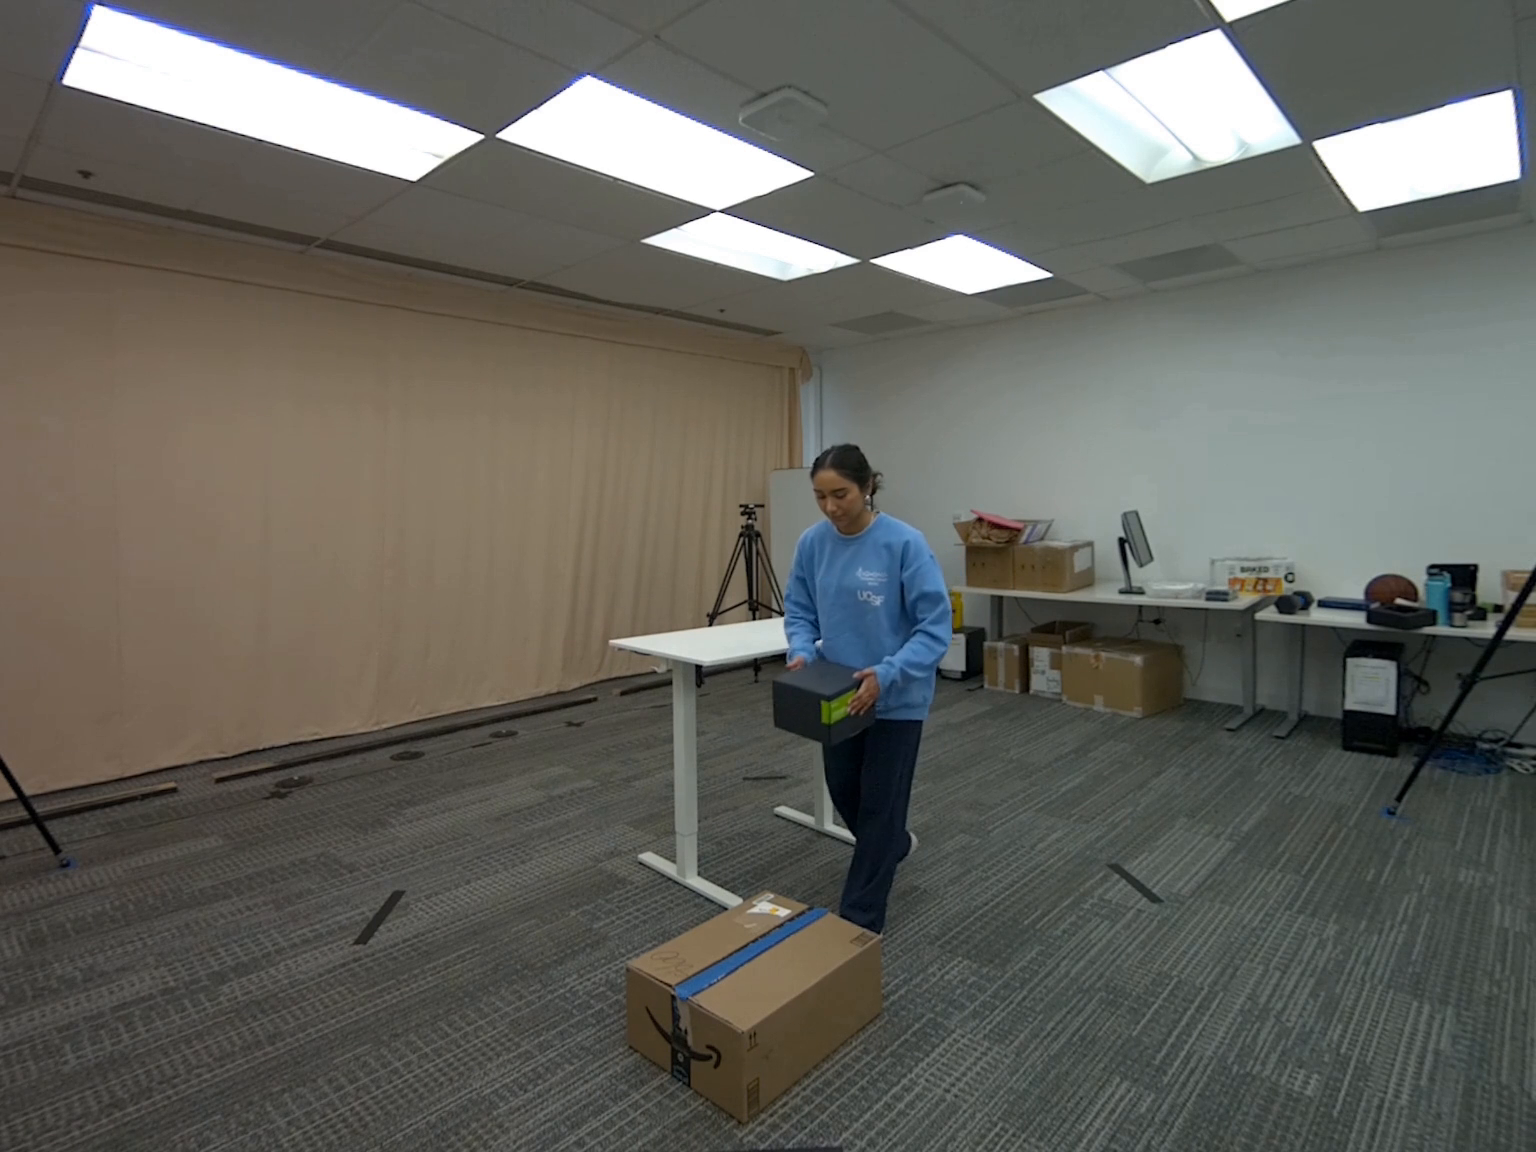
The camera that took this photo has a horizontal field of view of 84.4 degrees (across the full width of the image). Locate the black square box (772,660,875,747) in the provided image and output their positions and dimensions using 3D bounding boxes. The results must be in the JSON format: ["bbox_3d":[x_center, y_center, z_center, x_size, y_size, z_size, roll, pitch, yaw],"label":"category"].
[{"bbox_3d":[0.171,0.381,2.529,0.224,0.154,0.222,9,17,40],"label":"black square box"}]
